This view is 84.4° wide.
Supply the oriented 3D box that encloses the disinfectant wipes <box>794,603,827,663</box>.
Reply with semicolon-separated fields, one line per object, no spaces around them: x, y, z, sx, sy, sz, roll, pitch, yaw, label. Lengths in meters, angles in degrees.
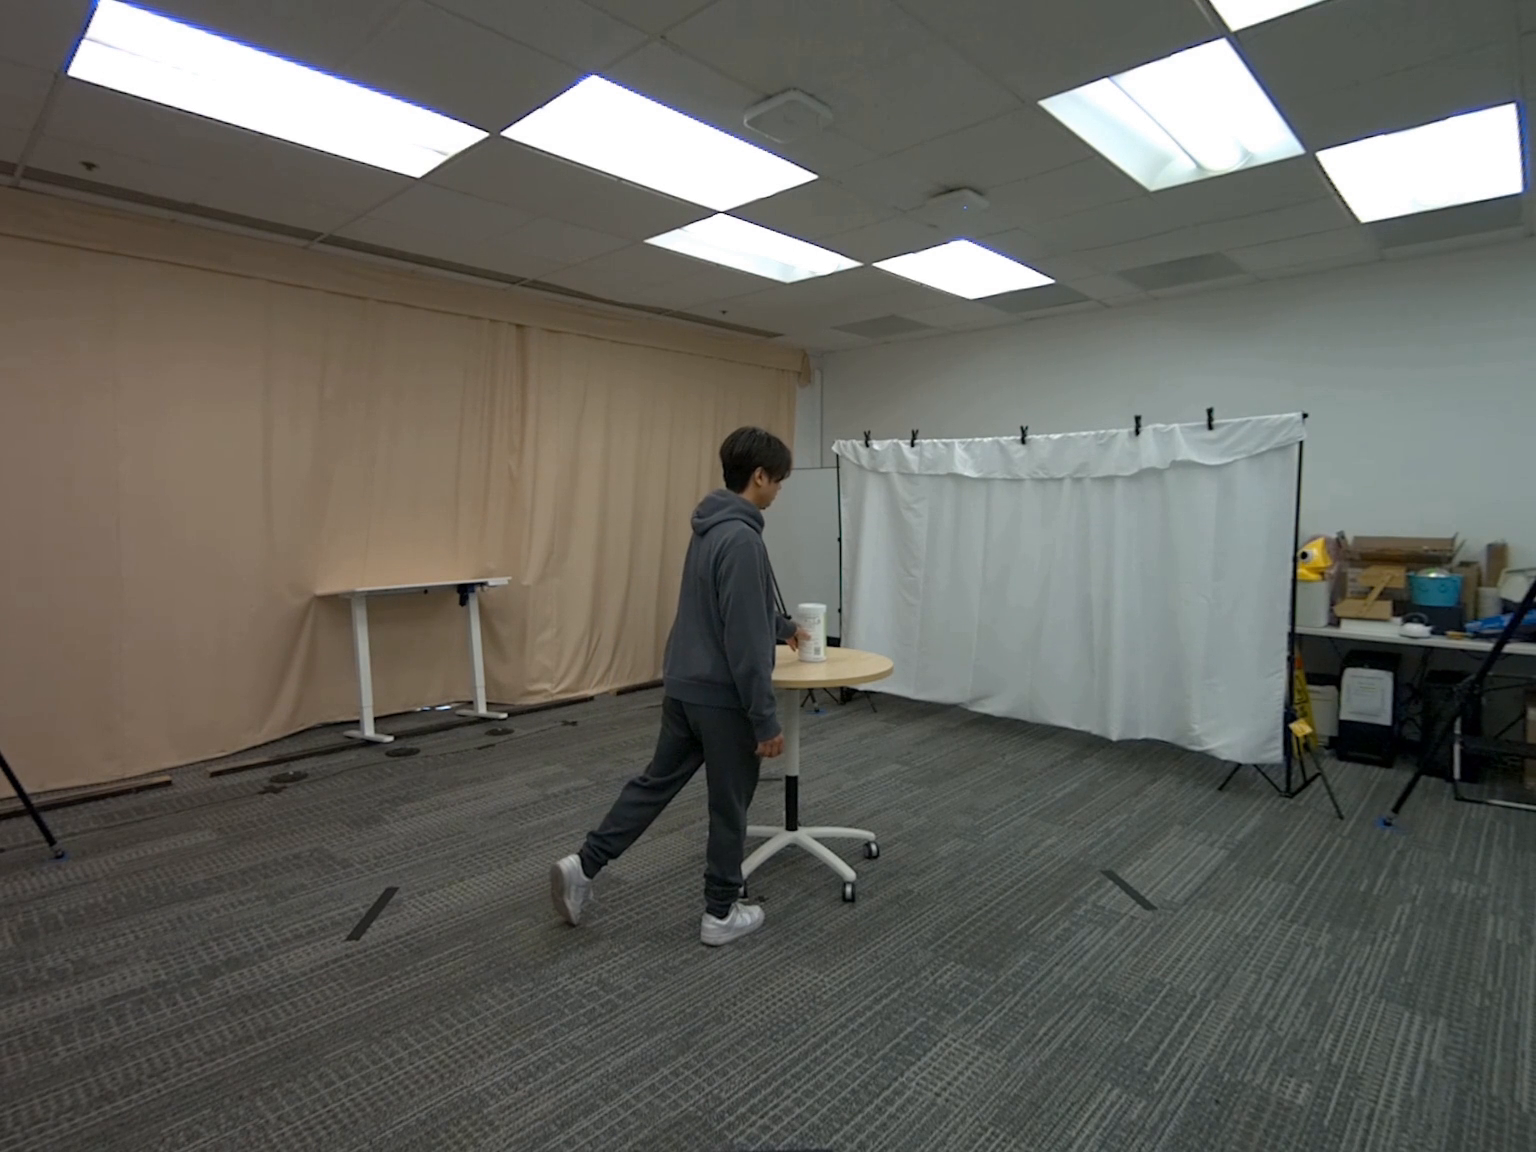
0.171;0.218;3.239;0.118;0.217;0.118;1;1;-2;disinfectant wipes
